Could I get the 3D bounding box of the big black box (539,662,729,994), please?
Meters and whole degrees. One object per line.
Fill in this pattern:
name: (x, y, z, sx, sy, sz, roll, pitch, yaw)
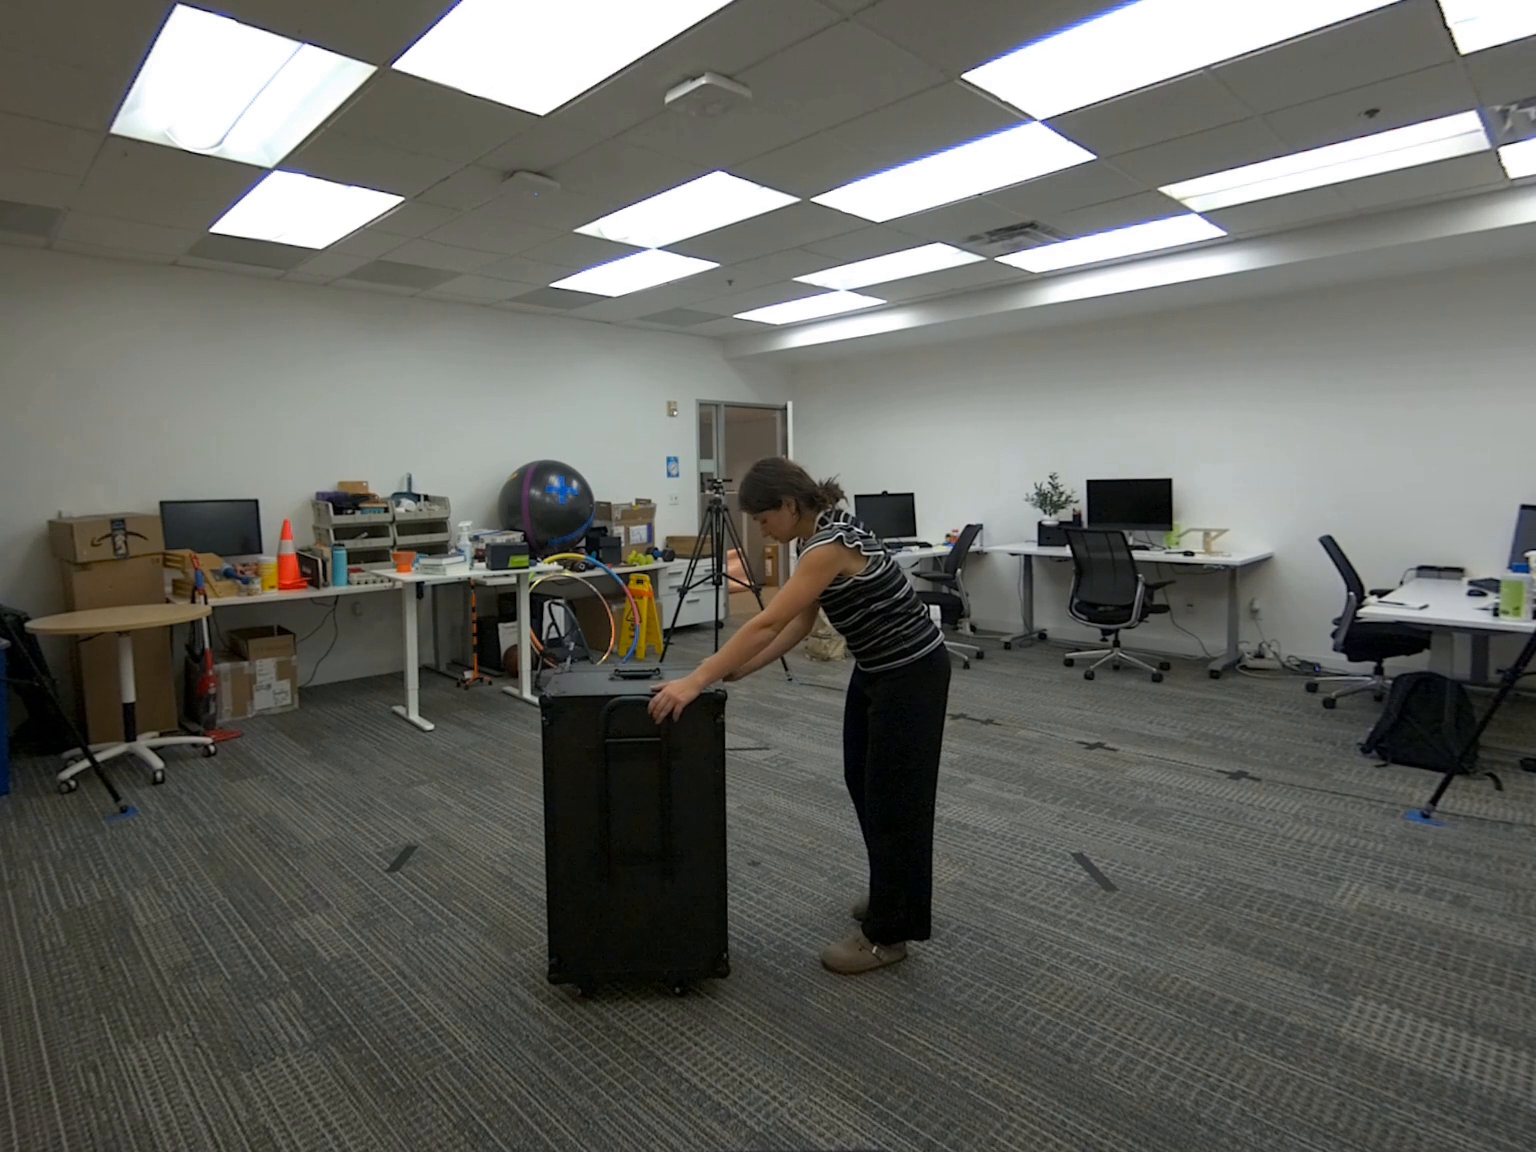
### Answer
big black box: (-0.353, 0.709, 2.410, 0.520, 0.857, 0.399, -1, 6, -3)
